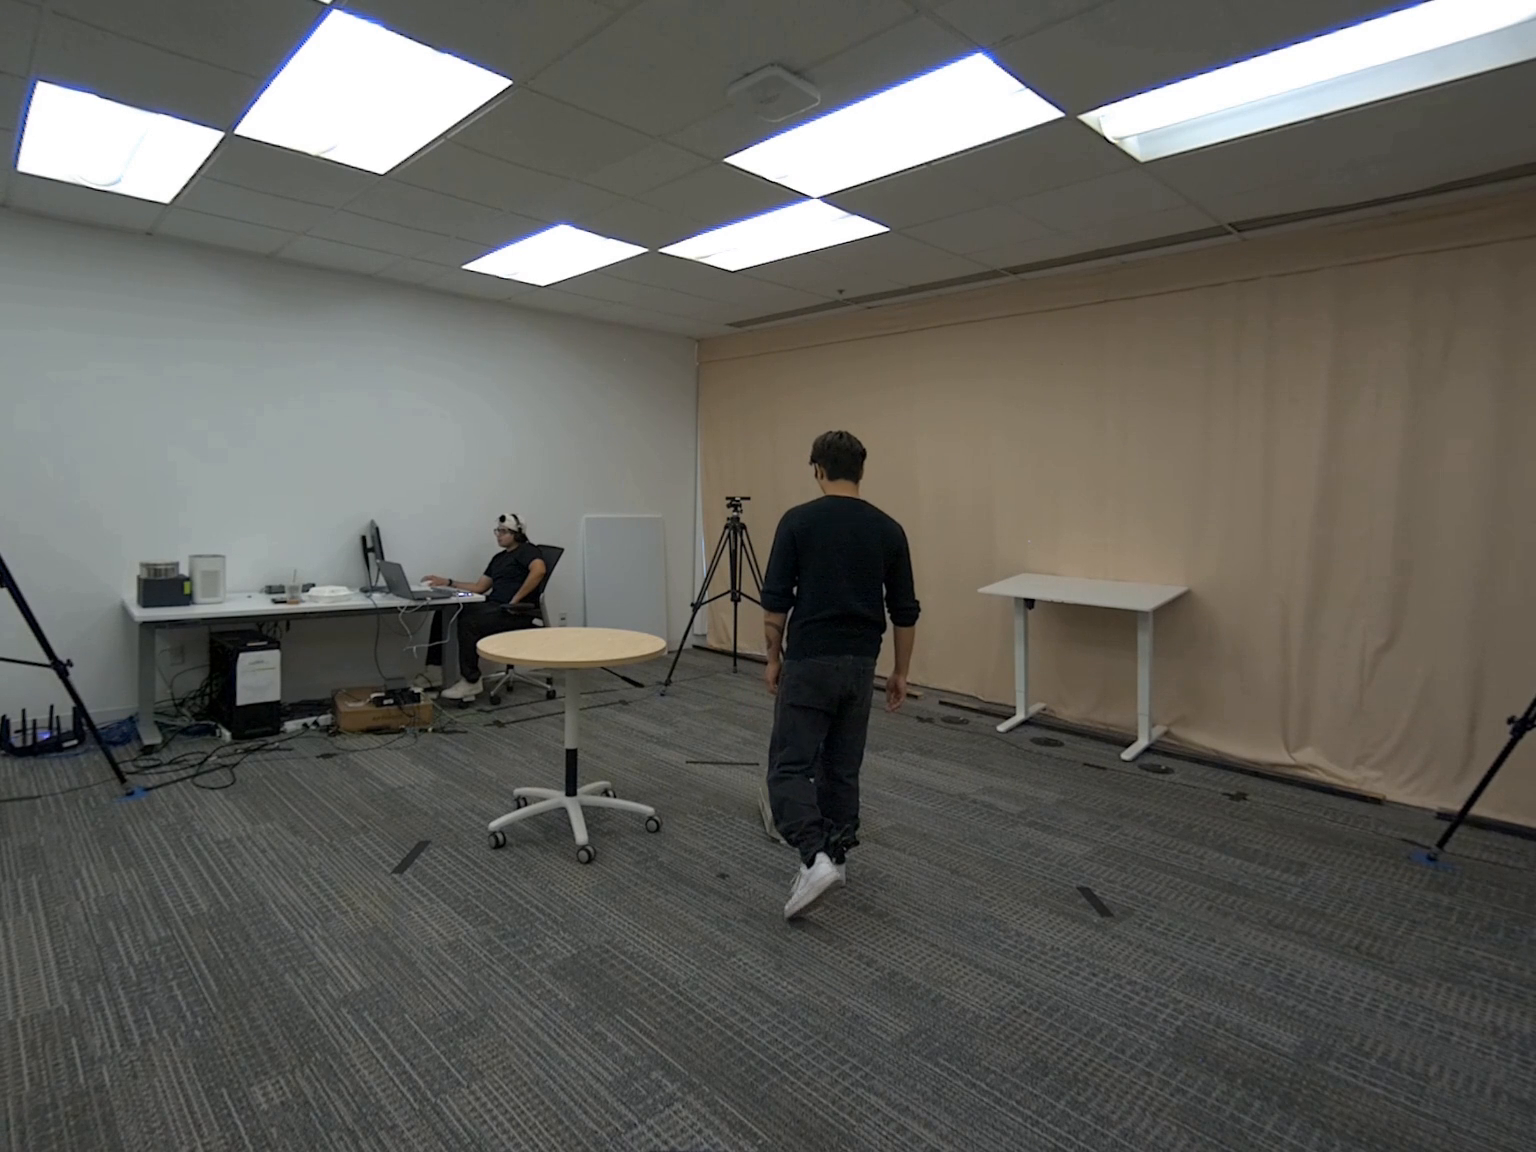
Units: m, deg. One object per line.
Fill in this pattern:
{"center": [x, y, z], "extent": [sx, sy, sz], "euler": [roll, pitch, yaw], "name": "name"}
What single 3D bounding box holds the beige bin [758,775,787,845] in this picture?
{"center": [0.163, 0.983, 3.617], "extent": [0.376, 0.188, 0.425], "euler": [1, 4, -6], "name": "beige bin"}
